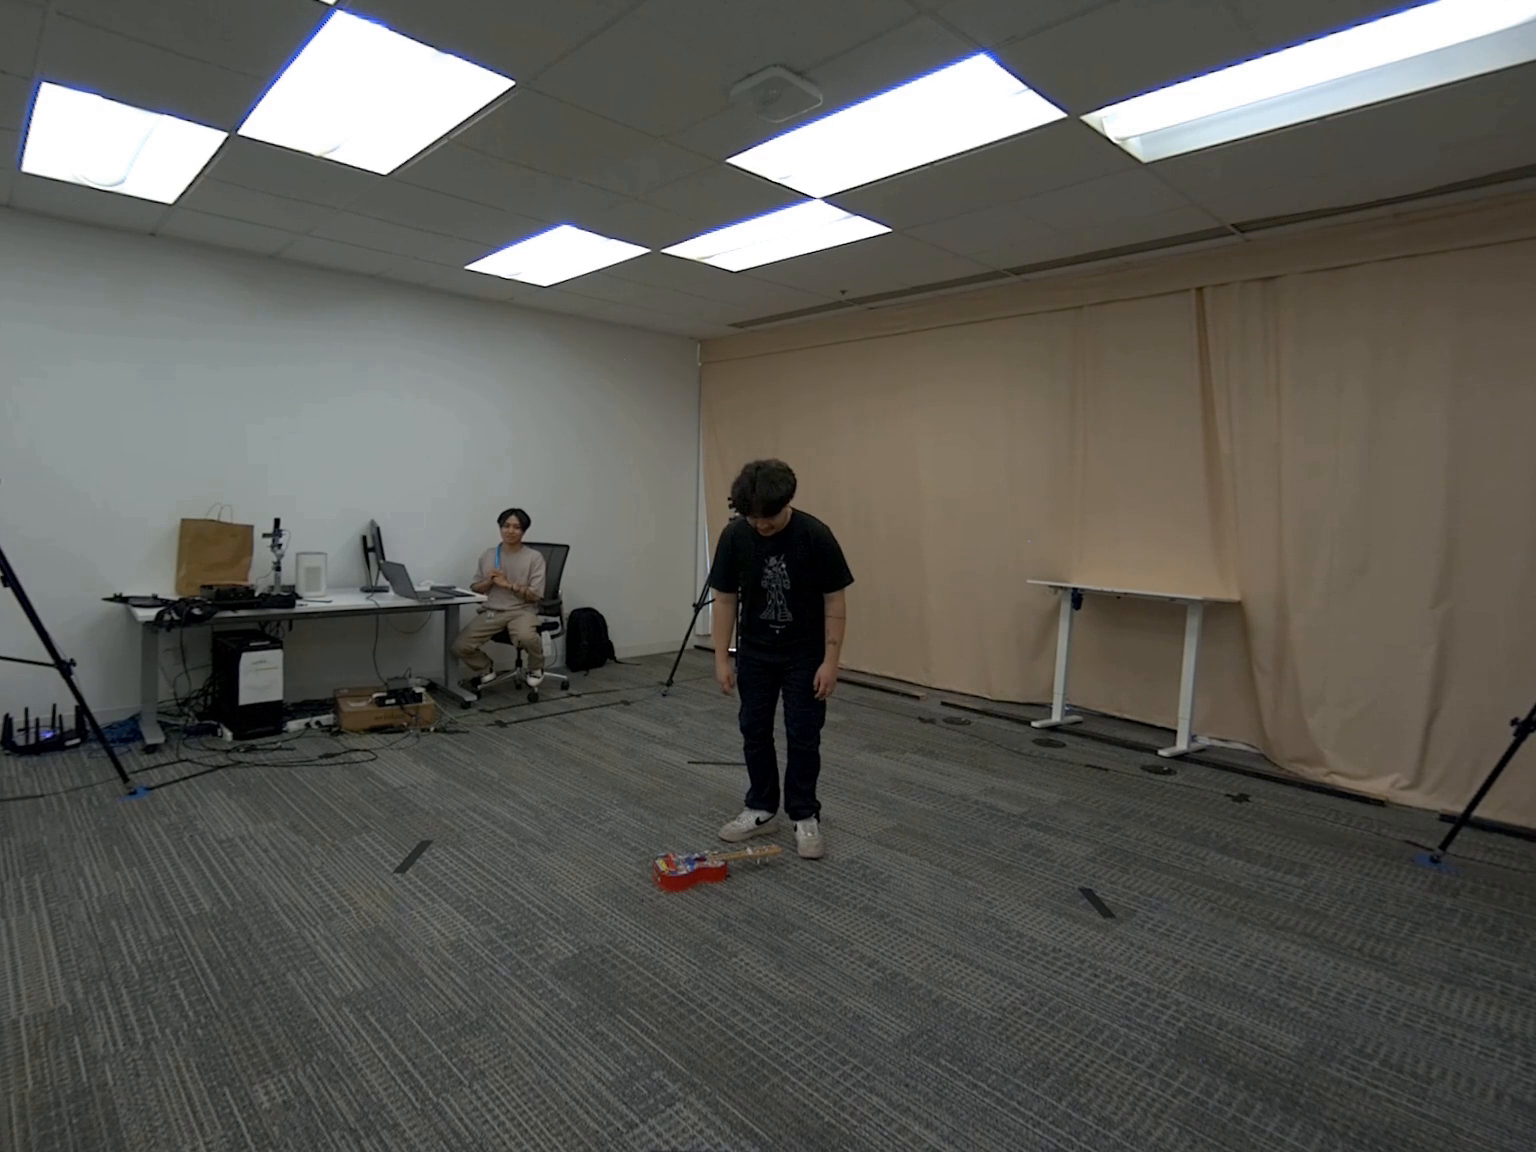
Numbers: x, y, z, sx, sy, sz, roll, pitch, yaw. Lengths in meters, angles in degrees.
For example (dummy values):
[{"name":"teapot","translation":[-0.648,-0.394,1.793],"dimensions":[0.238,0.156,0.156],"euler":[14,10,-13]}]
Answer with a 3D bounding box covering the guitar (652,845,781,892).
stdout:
[{"name":"guitar","translation":[-0.180,1.071,3.101],"dimensions":[0.493,0.070,0.195],"euler":[-1,5,-12]}]
